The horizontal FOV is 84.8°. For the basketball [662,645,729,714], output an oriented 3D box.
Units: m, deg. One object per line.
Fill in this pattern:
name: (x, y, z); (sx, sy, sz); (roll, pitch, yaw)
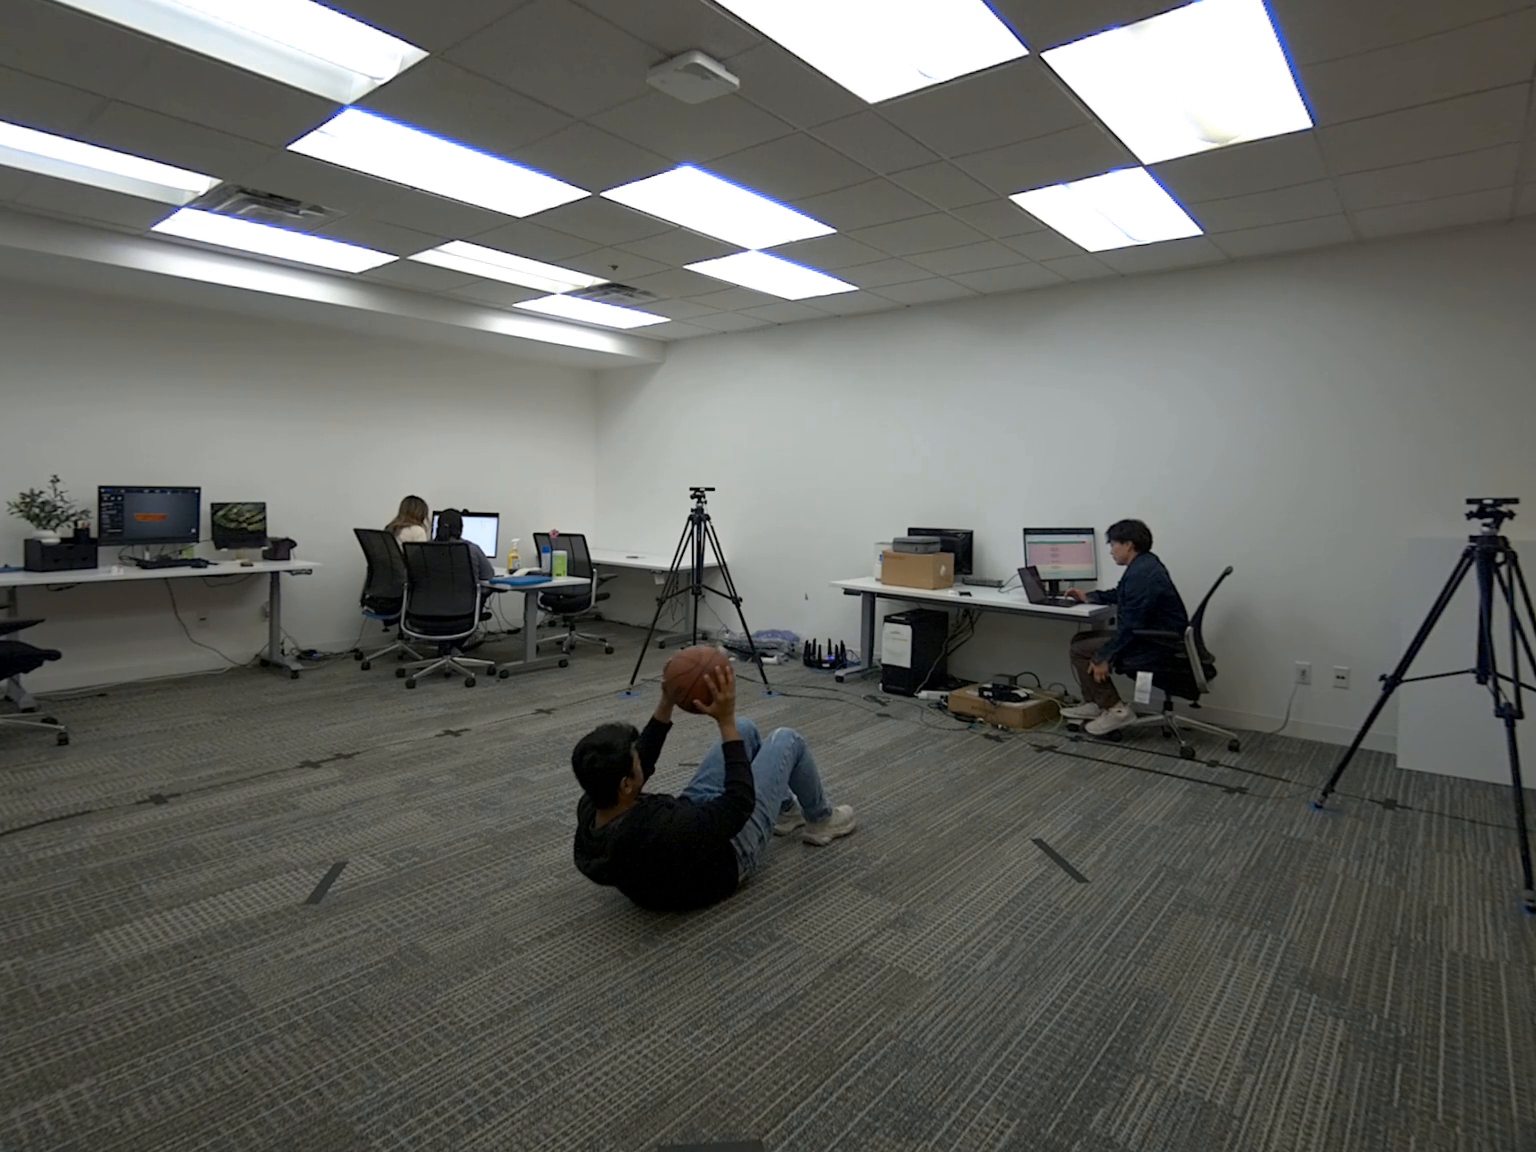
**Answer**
basketball: (-0.248, 0.367, 2.948); (0.235, 0.235, 0.237); (1, 4, -2)
